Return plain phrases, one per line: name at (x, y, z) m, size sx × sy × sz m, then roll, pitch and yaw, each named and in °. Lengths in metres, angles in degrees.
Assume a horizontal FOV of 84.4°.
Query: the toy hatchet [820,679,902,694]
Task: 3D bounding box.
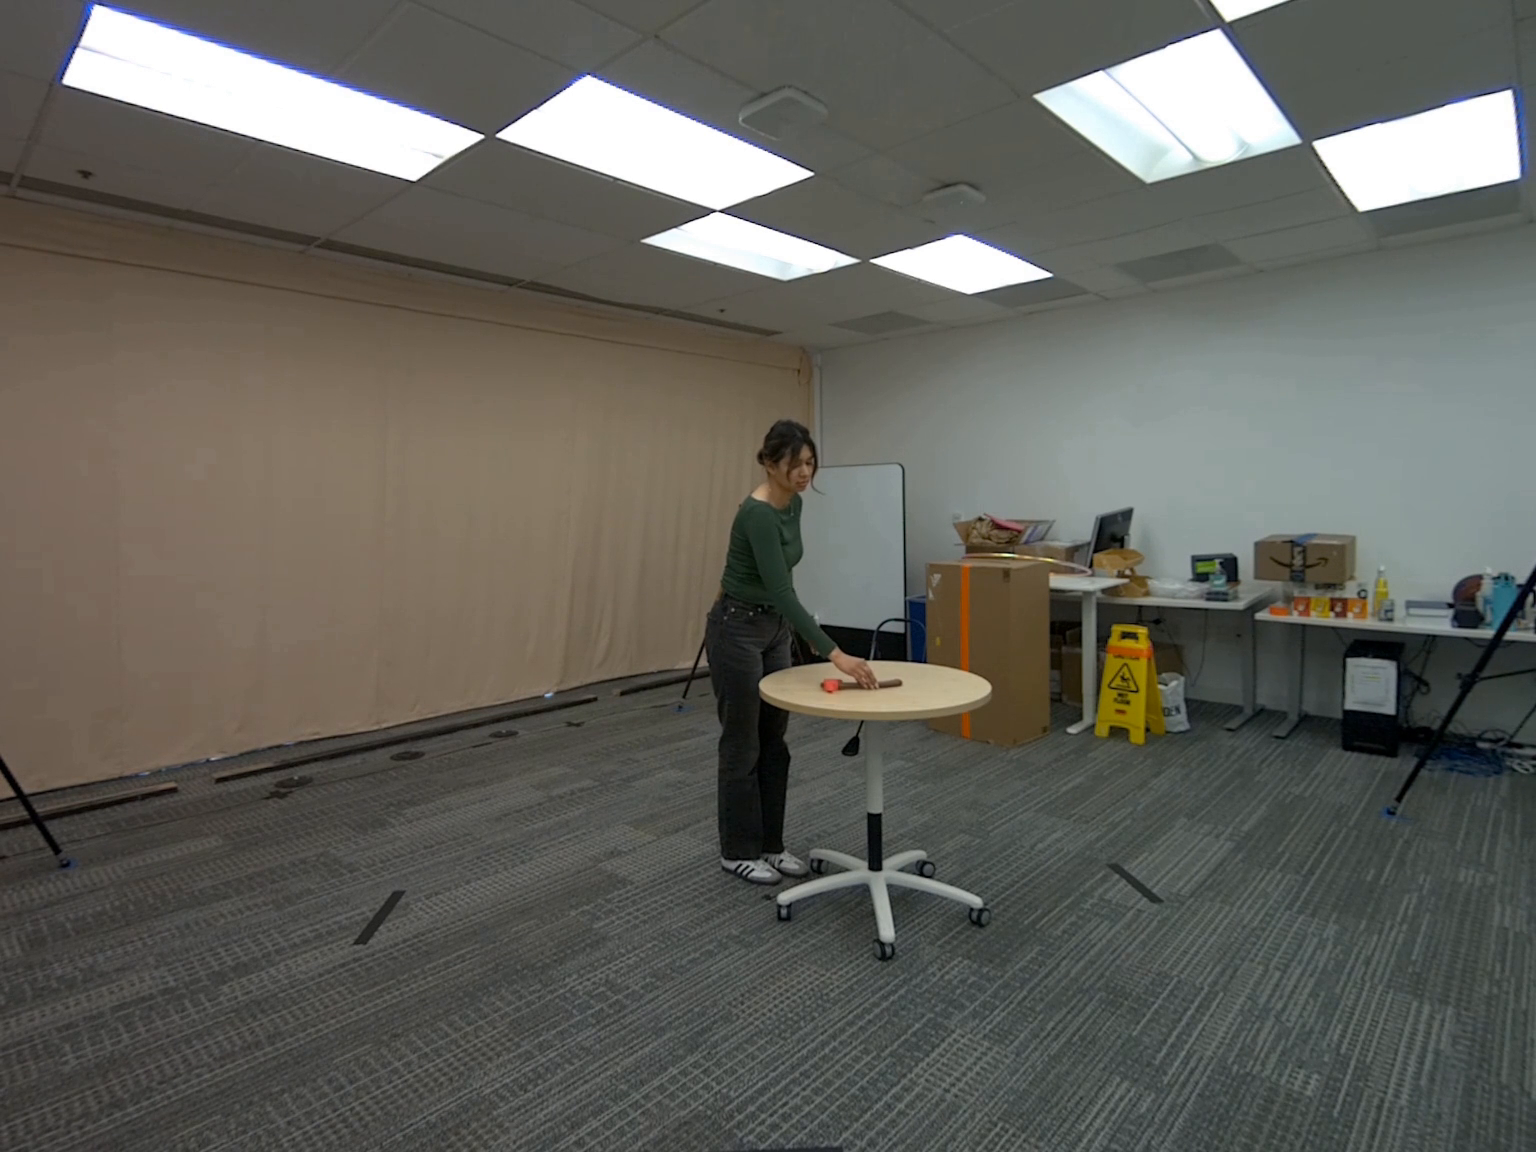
toy hatchet at (0.318, 0.354, 2.793) m, size 0.265 × 0.029 × 0.134 m, roll -3°, pitch 5°, yaw -18°
